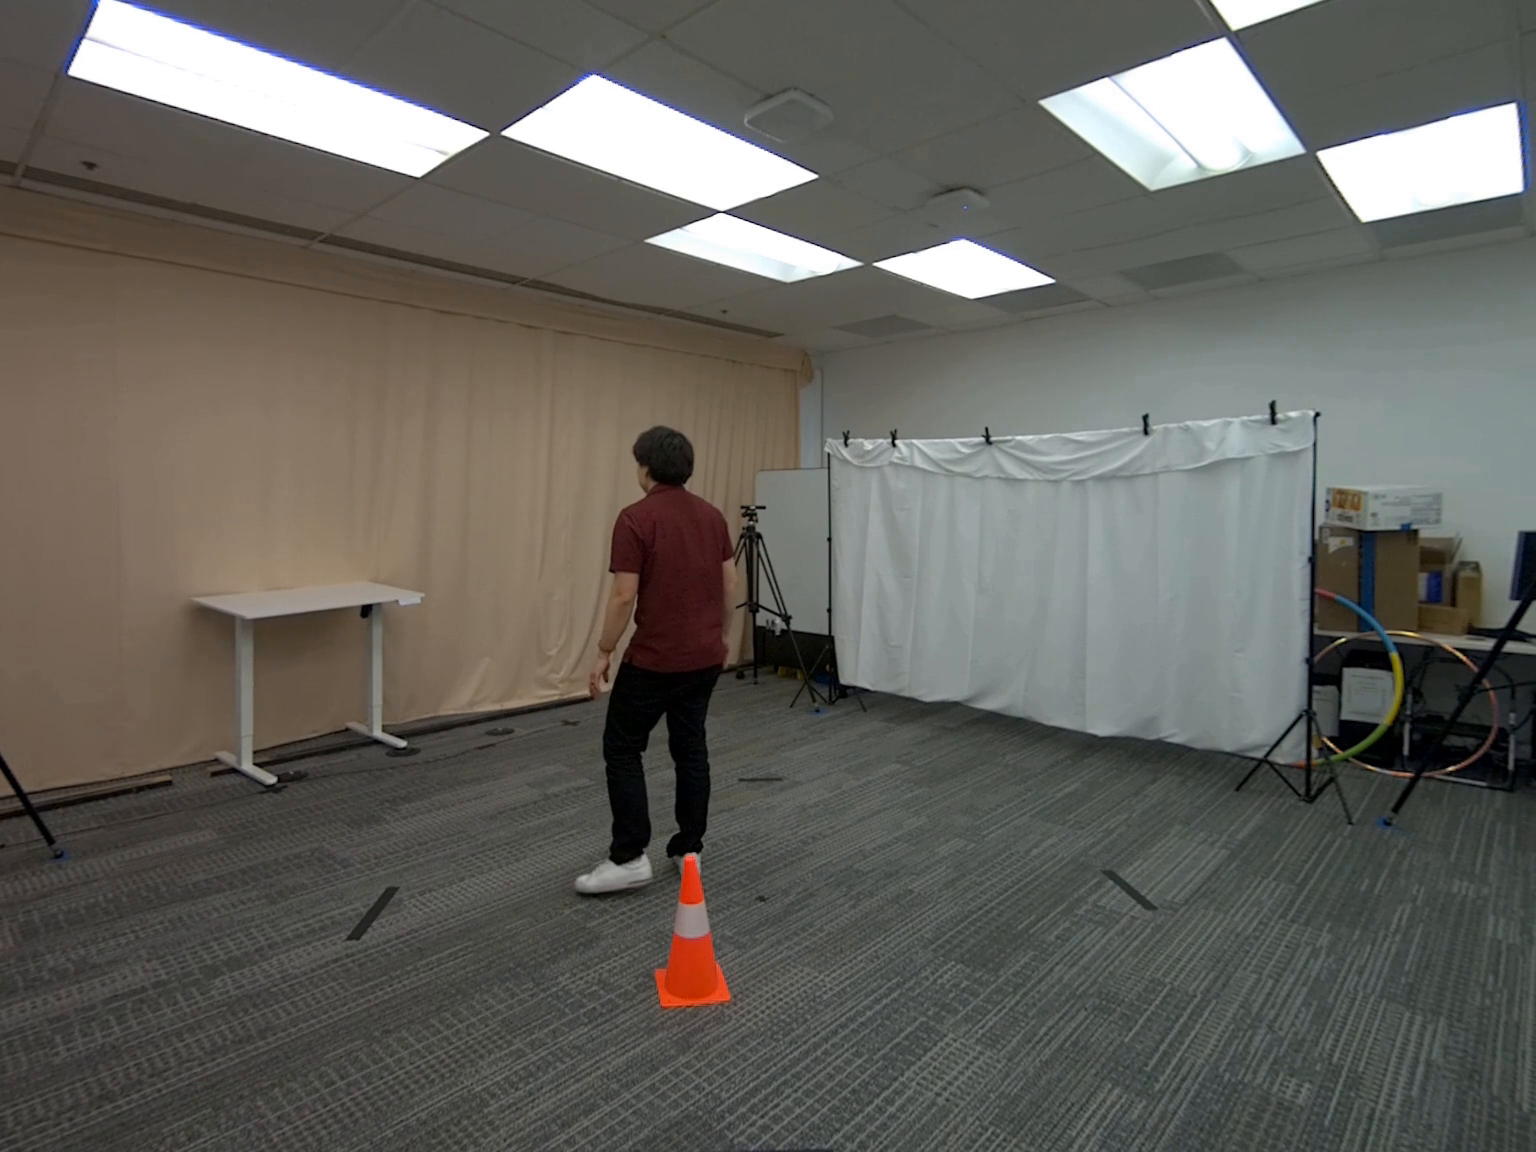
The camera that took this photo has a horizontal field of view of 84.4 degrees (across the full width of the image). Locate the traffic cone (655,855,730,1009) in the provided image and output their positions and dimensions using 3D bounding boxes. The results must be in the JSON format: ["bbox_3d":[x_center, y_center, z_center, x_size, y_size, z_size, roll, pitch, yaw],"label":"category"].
[{"bbox_3d":[-0.216,1.001,2.441,0.200,0.383,0.208,0,2,-16],"label":"traffic cone"}]
